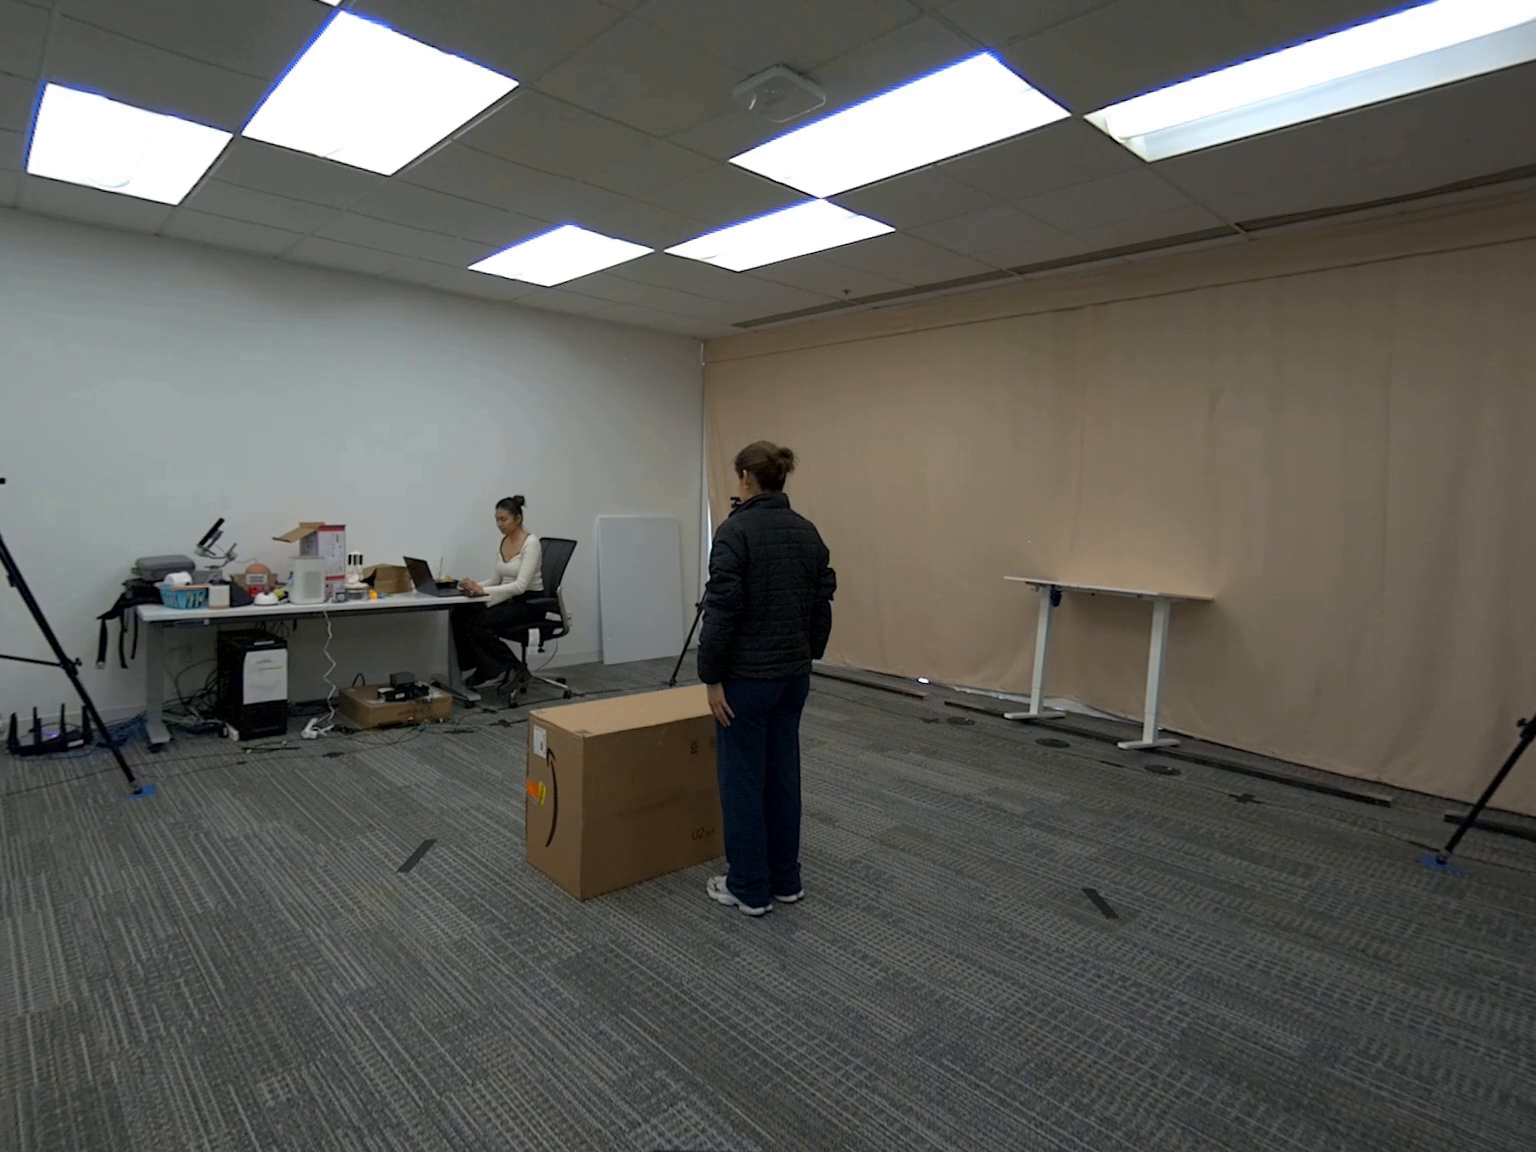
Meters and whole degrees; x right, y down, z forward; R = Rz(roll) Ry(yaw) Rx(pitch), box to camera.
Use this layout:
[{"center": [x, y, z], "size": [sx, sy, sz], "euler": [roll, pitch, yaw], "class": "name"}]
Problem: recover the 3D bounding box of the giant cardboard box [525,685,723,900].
[{"center": [-0.404, 0.796, 3.337], "size": [1.004, 0.582, 0.458], "euler": [-2, 6, -40], "class": "giant cardboard box"}]
